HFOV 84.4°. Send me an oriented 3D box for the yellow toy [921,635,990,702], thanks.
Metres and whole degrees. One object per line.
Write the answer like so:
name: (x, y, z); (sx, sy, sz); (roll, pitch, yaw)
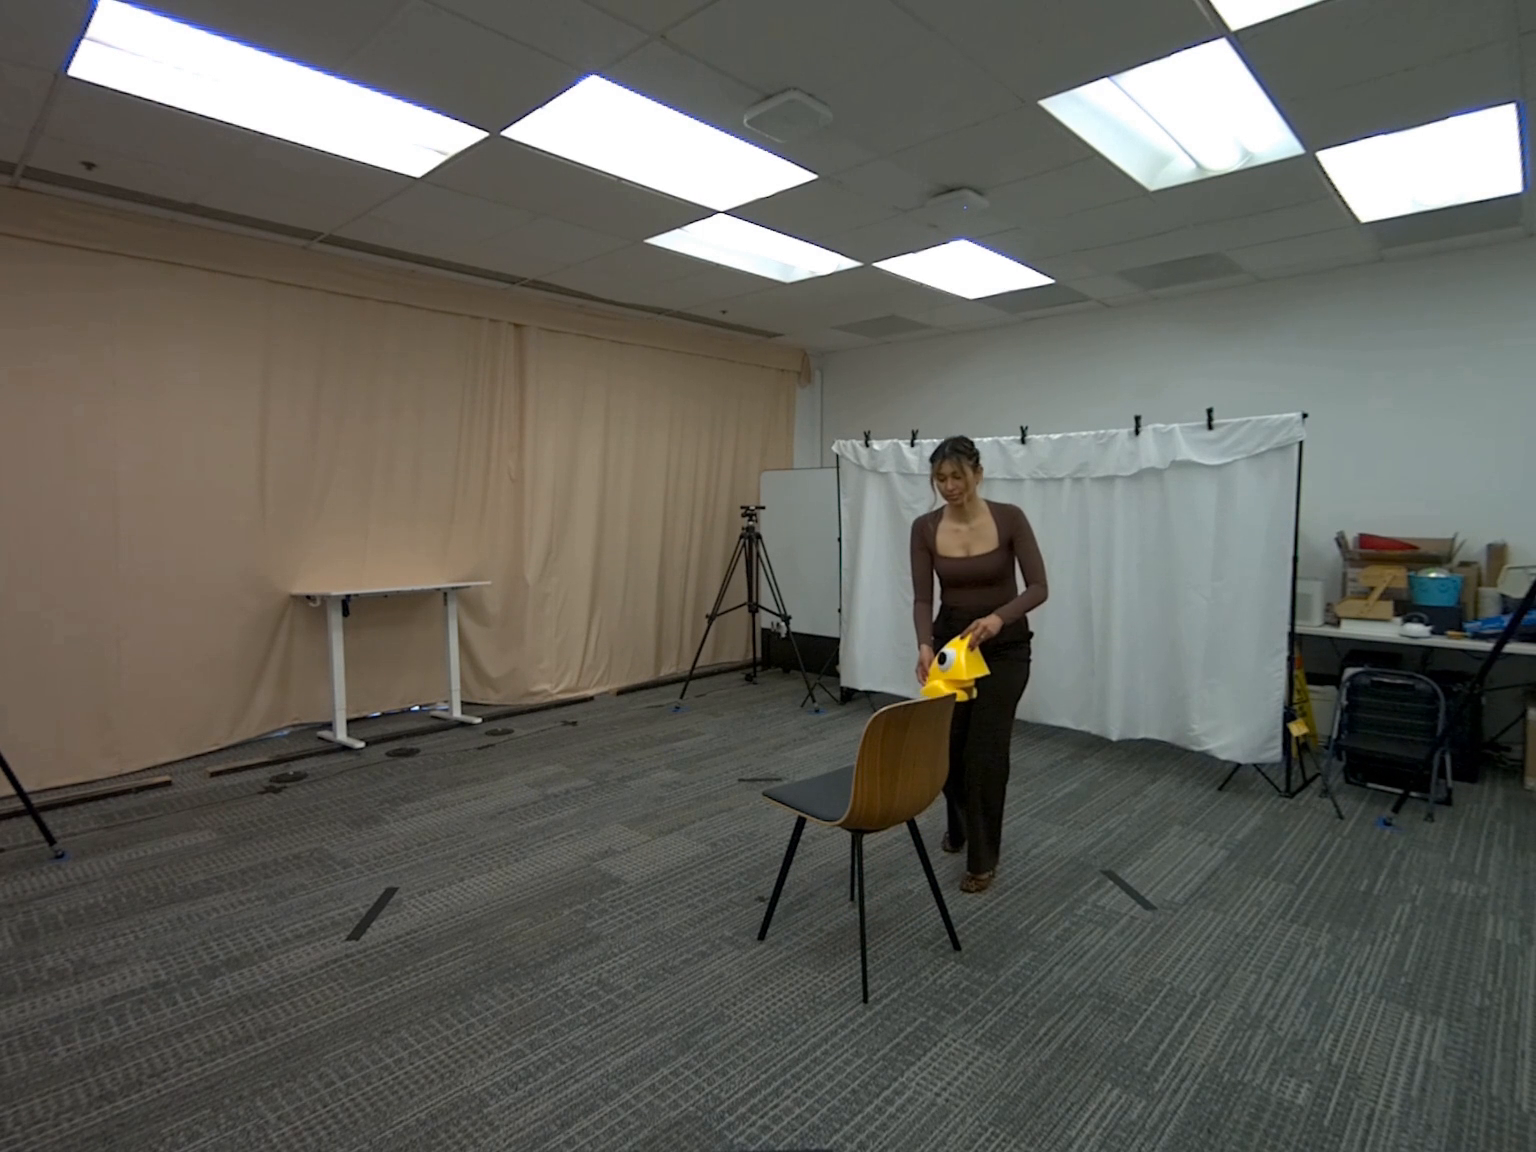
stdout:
yellow toy: (0.635, 0.297, 2.875); (0.199, 0.230, 0.198); (4, 2, 38)
